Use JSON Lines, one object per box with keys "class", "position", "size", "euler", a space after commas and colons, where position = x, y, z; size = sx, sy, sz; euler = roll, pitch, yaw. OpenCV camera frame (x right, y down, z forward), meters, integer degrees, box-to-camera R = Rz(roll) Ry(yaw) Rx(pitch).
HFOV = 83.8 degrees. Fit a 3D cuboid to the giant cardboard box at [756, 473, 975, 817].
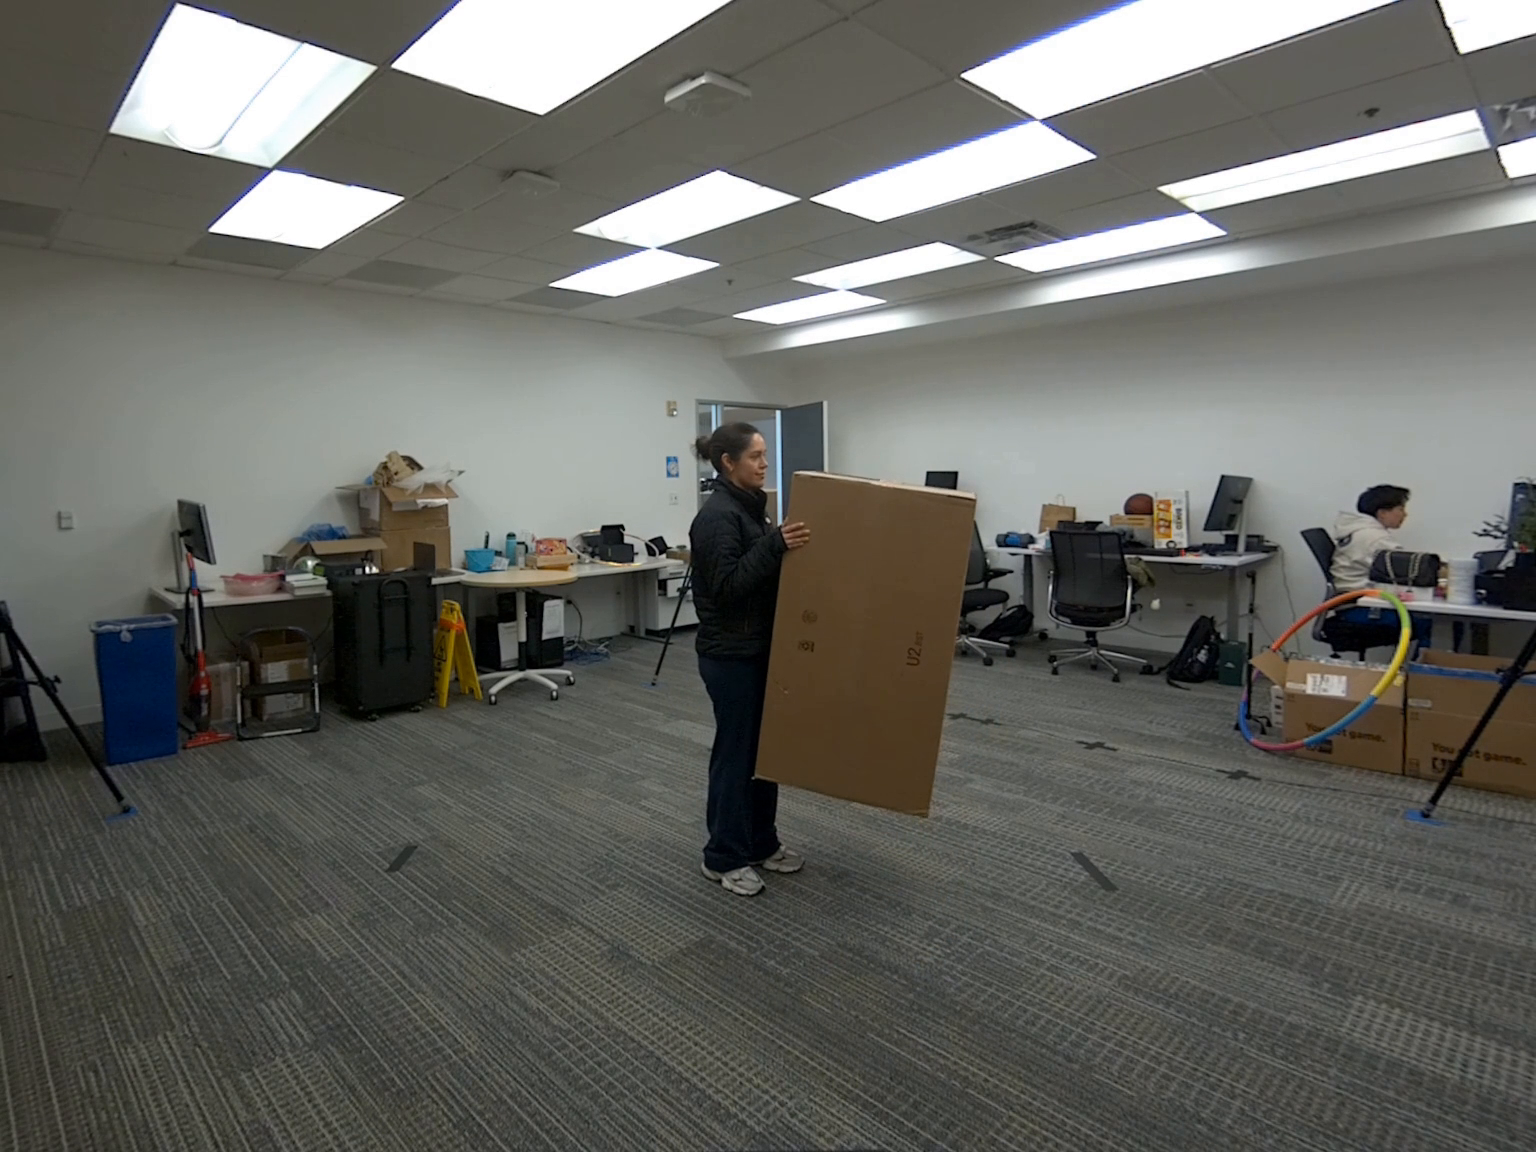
{"class": "giant cardboard box", "position": [0.337, 0.193, 2.901], "size": [0.587, 1.020, 0.421], "euler": [9, 7, 15]}
